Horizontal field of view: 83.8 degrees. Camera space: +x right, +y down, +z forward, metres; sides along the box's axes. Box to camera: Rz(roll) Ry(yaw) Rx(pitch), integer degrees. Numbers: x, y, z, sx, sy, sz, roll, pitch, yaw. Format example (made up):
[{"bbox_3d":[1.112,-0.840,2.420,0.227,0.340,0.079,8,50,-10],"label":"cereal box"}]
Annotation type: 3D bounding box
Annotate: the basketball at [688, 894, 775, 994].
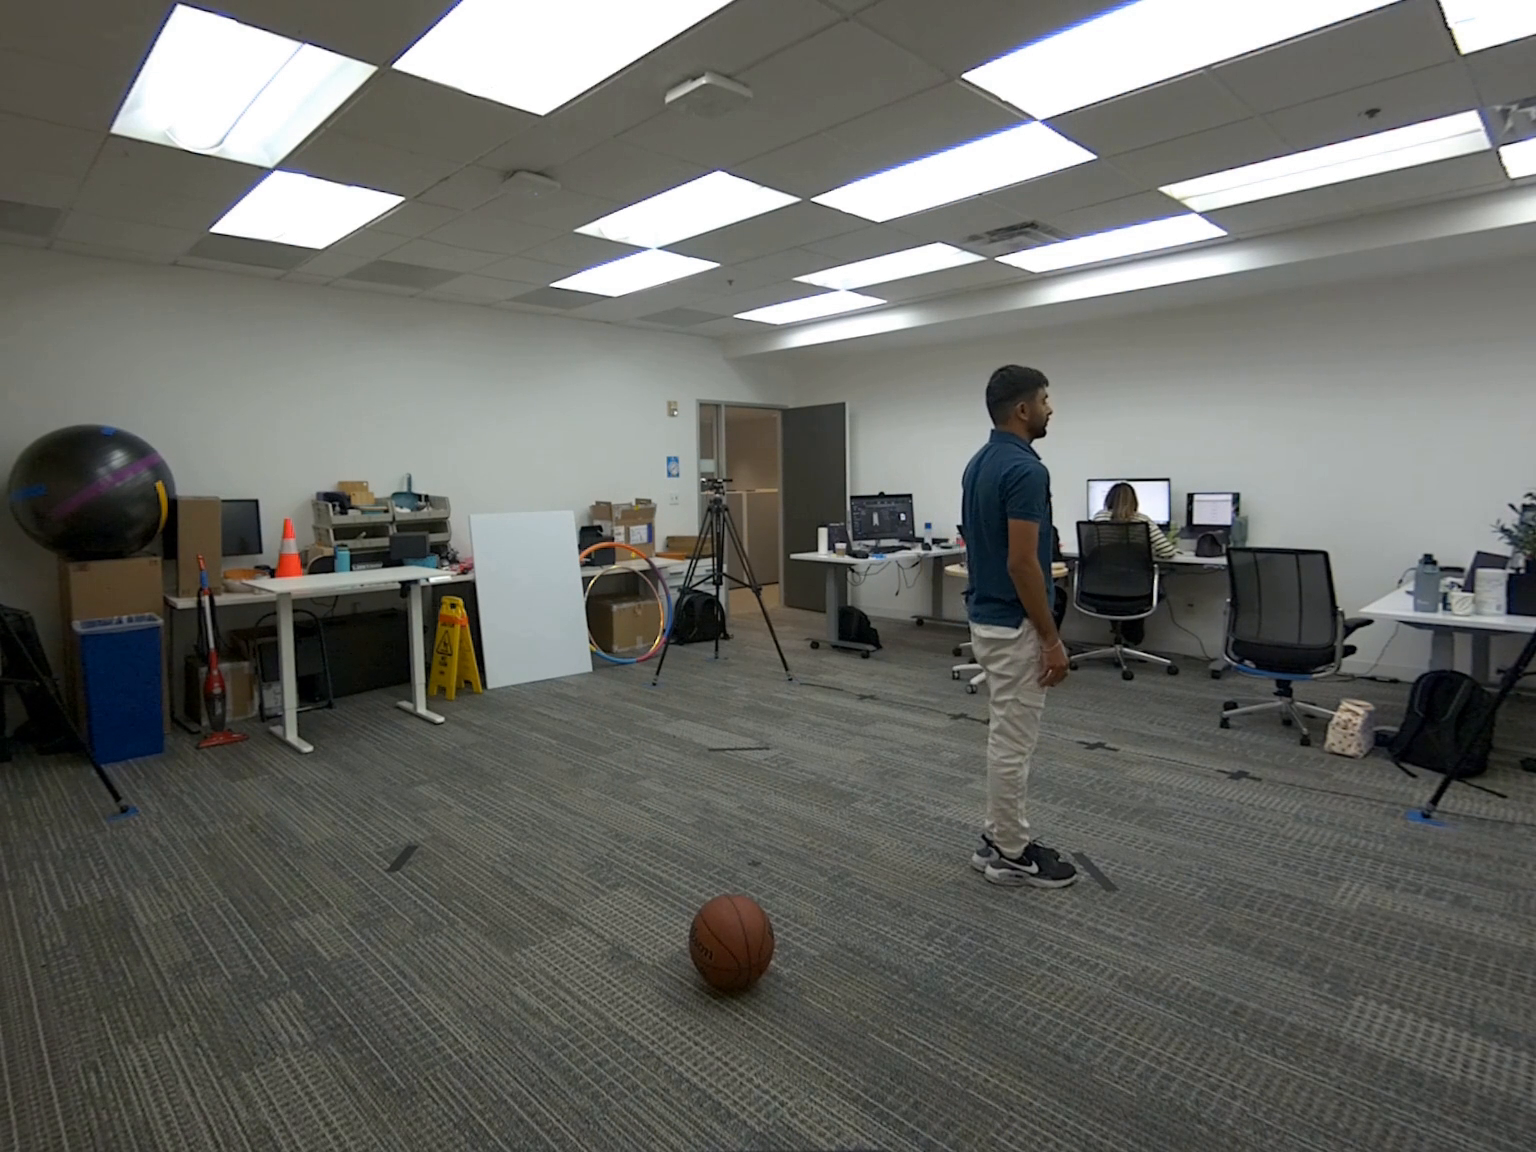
[{"bbox_3d":[-0.097,1.011,2.377,0.236,0.235,0.237,-1,5,-2],"label":"basketball"}]
